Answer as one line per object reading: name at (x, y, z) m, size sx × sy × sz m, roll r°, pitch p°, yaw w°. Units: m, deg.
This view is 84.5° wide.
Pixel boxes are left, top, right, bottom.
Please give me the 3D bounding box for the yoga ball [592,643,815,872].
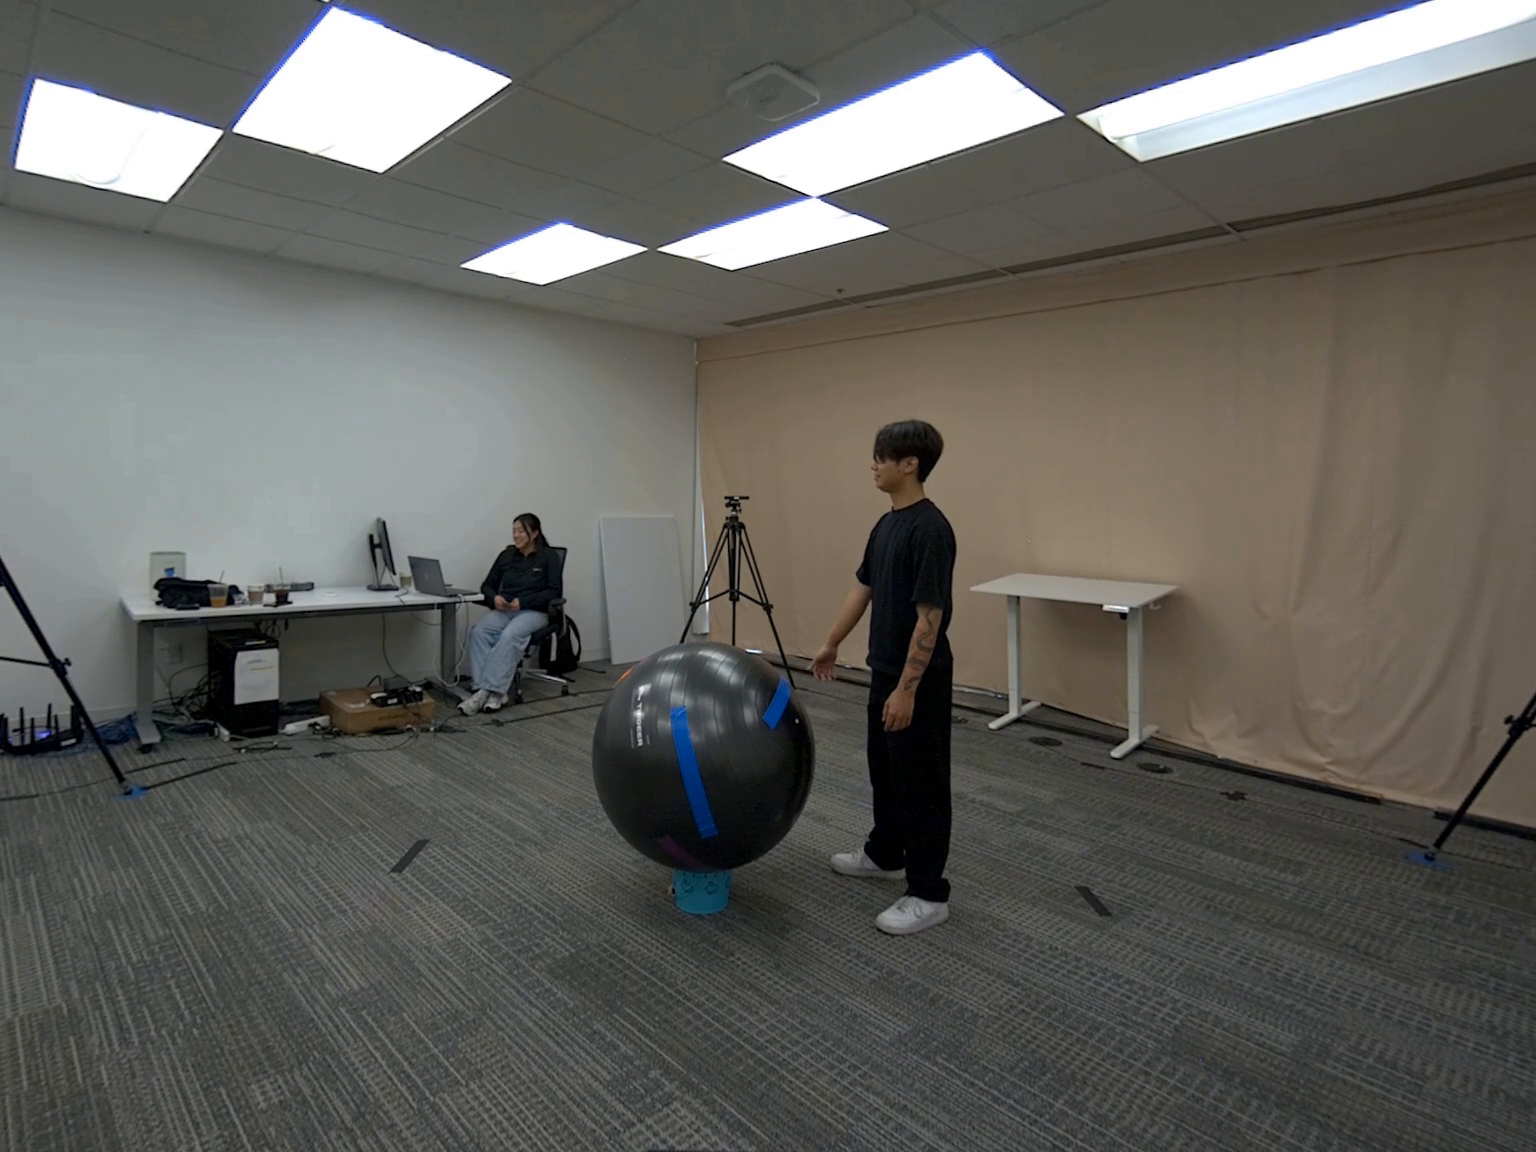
yoga ball at (-0.233, 0.612, 2.878) m, size 0.757 × 0.756 × 0.761 m, roll 1°, pitch 4°, yaw -1°
